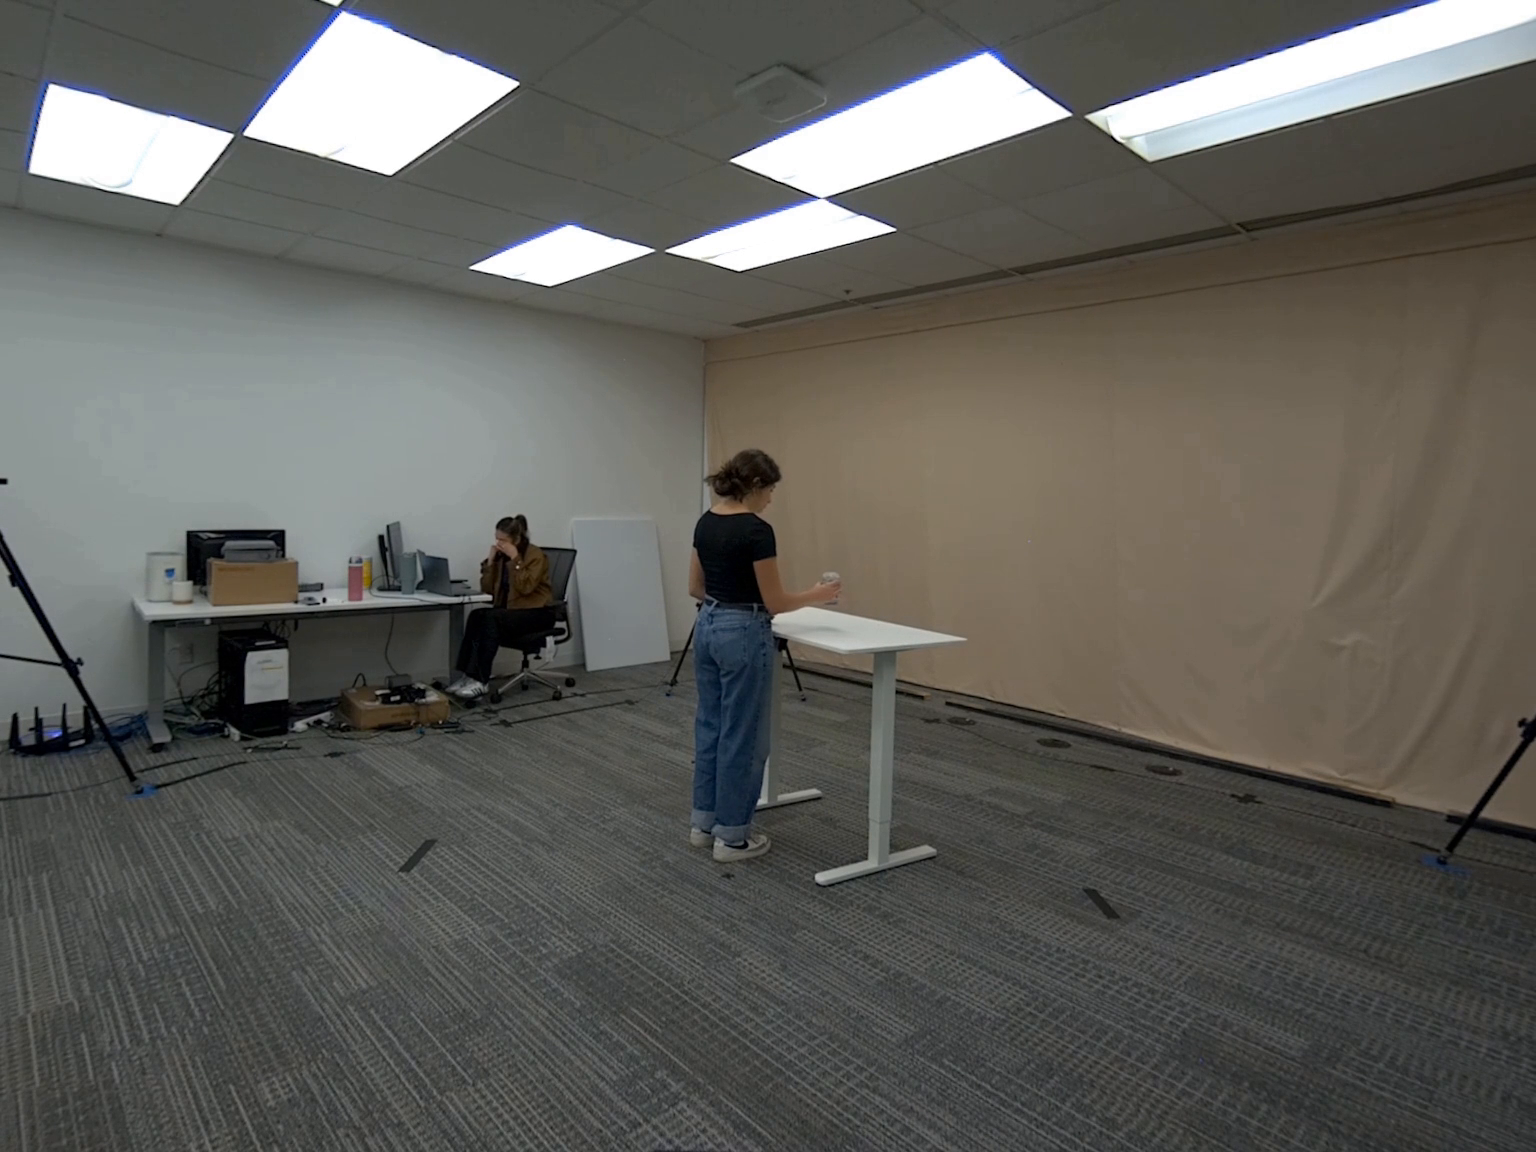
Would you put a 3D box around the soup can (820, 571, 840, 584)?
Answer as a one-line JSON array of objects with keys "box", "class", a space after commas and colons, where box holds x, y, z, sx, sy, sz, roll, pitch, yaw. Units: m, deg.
[{"box": [0.245, 0.051, 3.384, 0.067, 0.121, 0.067, 3, 9, -2], "class": "soup can"}]
